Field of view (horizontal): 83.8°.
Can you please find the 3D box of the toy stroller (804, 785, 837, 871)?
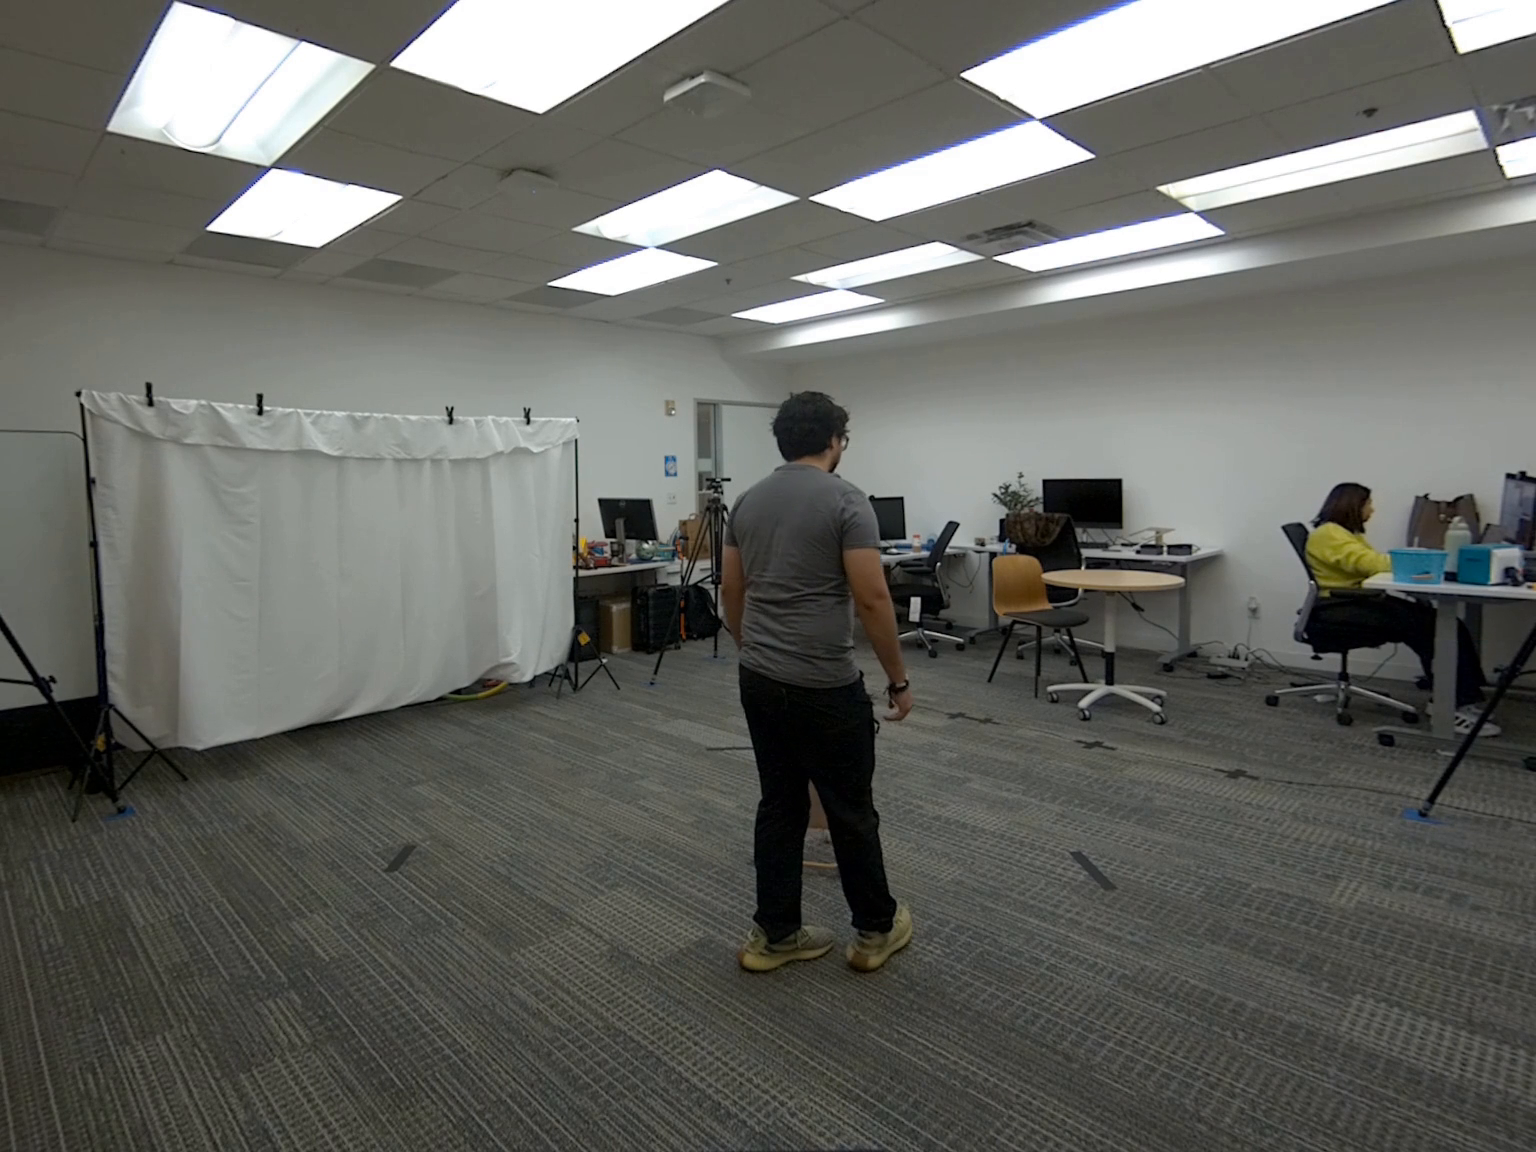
[{"bbox_3d":[0.193,0.820,3.086,0.287,0.525,0.341,1,21,18],"label":"toy stroller"}]
